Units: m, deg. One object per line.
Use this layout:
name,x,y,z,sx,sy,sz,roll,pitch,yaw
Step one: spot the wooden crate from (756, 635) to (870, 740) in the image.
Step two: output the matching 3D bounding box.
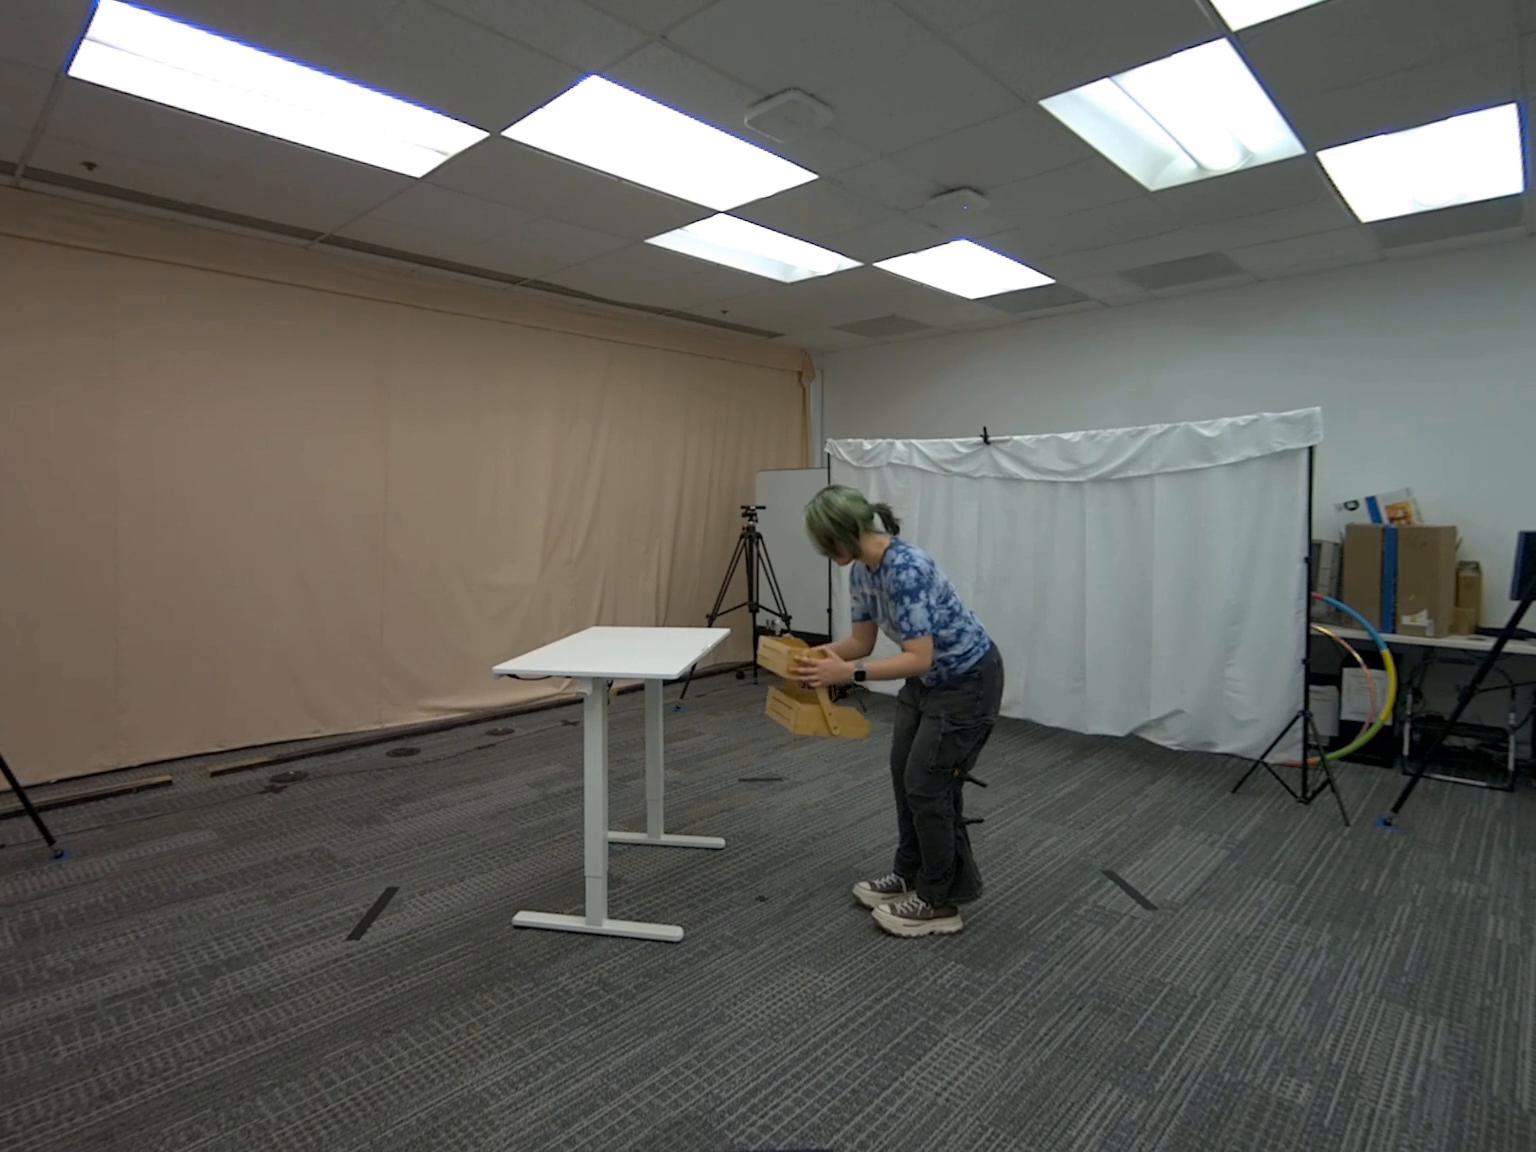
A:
wooden crate,0.155,0.356,2.721,0.297,0.273,0.330,5,0,-16
